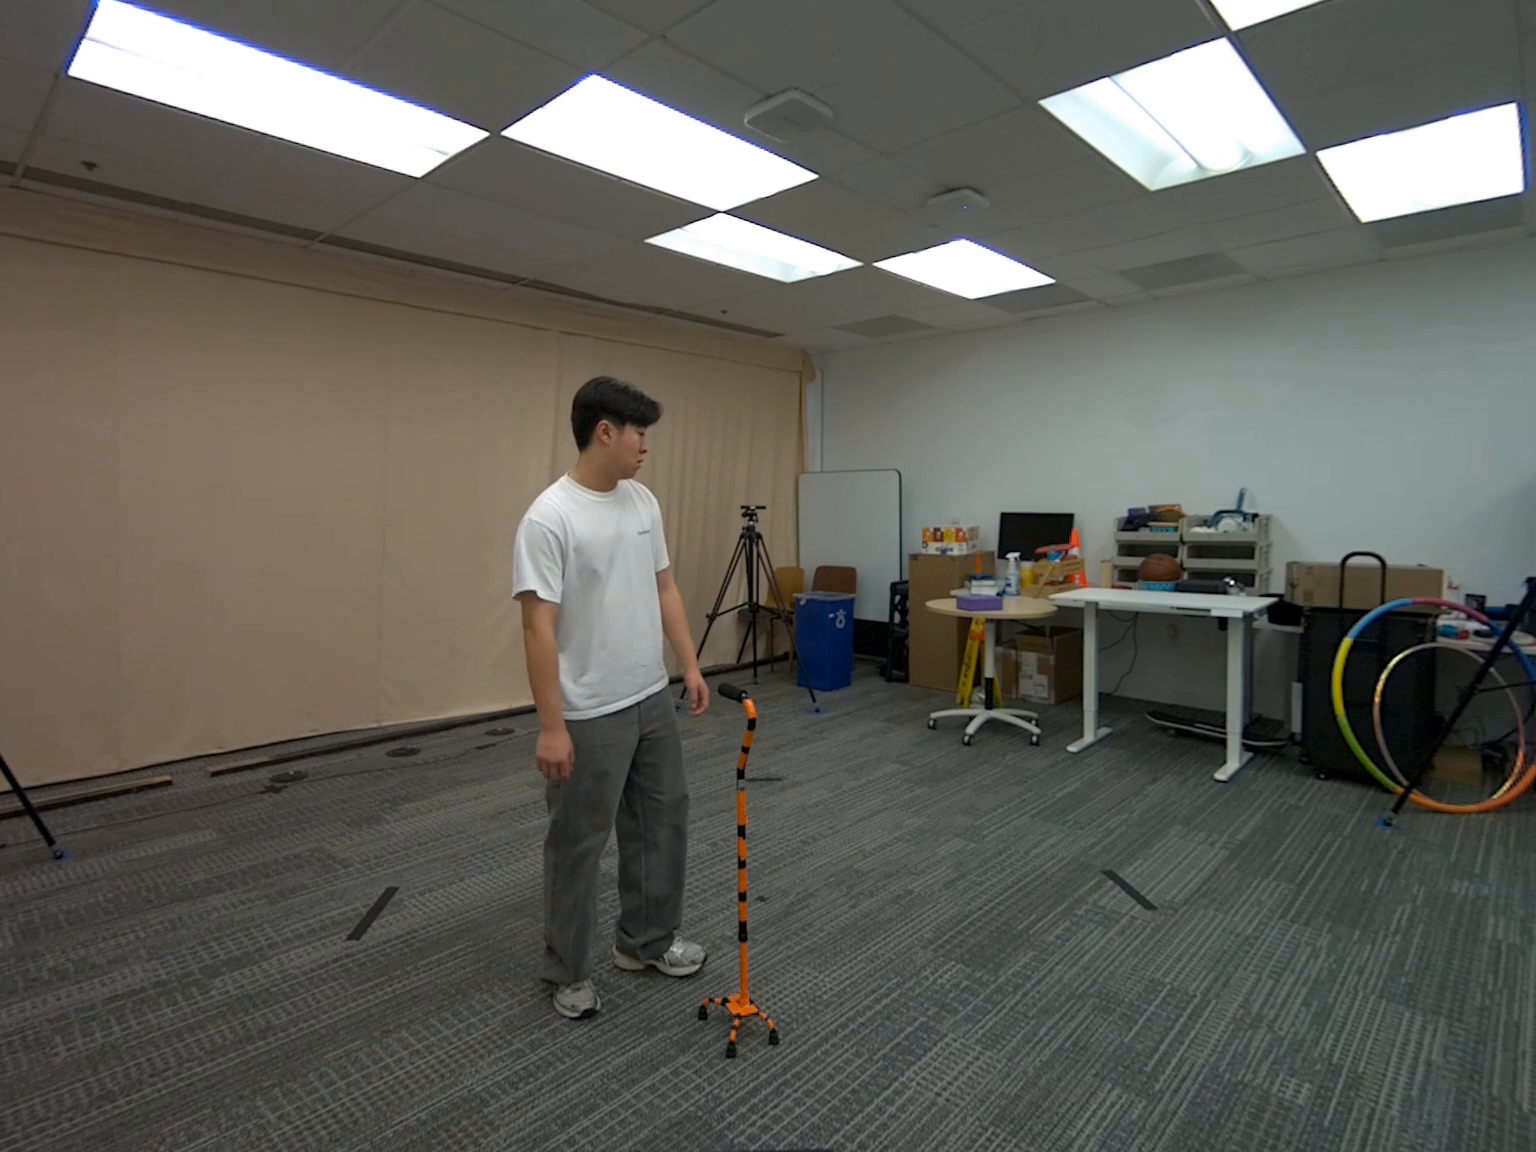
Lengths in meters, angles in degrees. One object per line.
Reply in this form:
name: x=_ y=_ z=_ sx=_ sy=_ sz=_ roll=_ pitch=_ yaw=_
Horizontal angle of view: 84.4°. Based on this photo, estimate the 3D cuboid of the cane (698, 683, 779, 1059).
cane: x=-0.074 y=0.758 z=2.211 sx=0.148 sy=0.906 sz=0.212 roll=-2 pitch=3 yaw=-29
